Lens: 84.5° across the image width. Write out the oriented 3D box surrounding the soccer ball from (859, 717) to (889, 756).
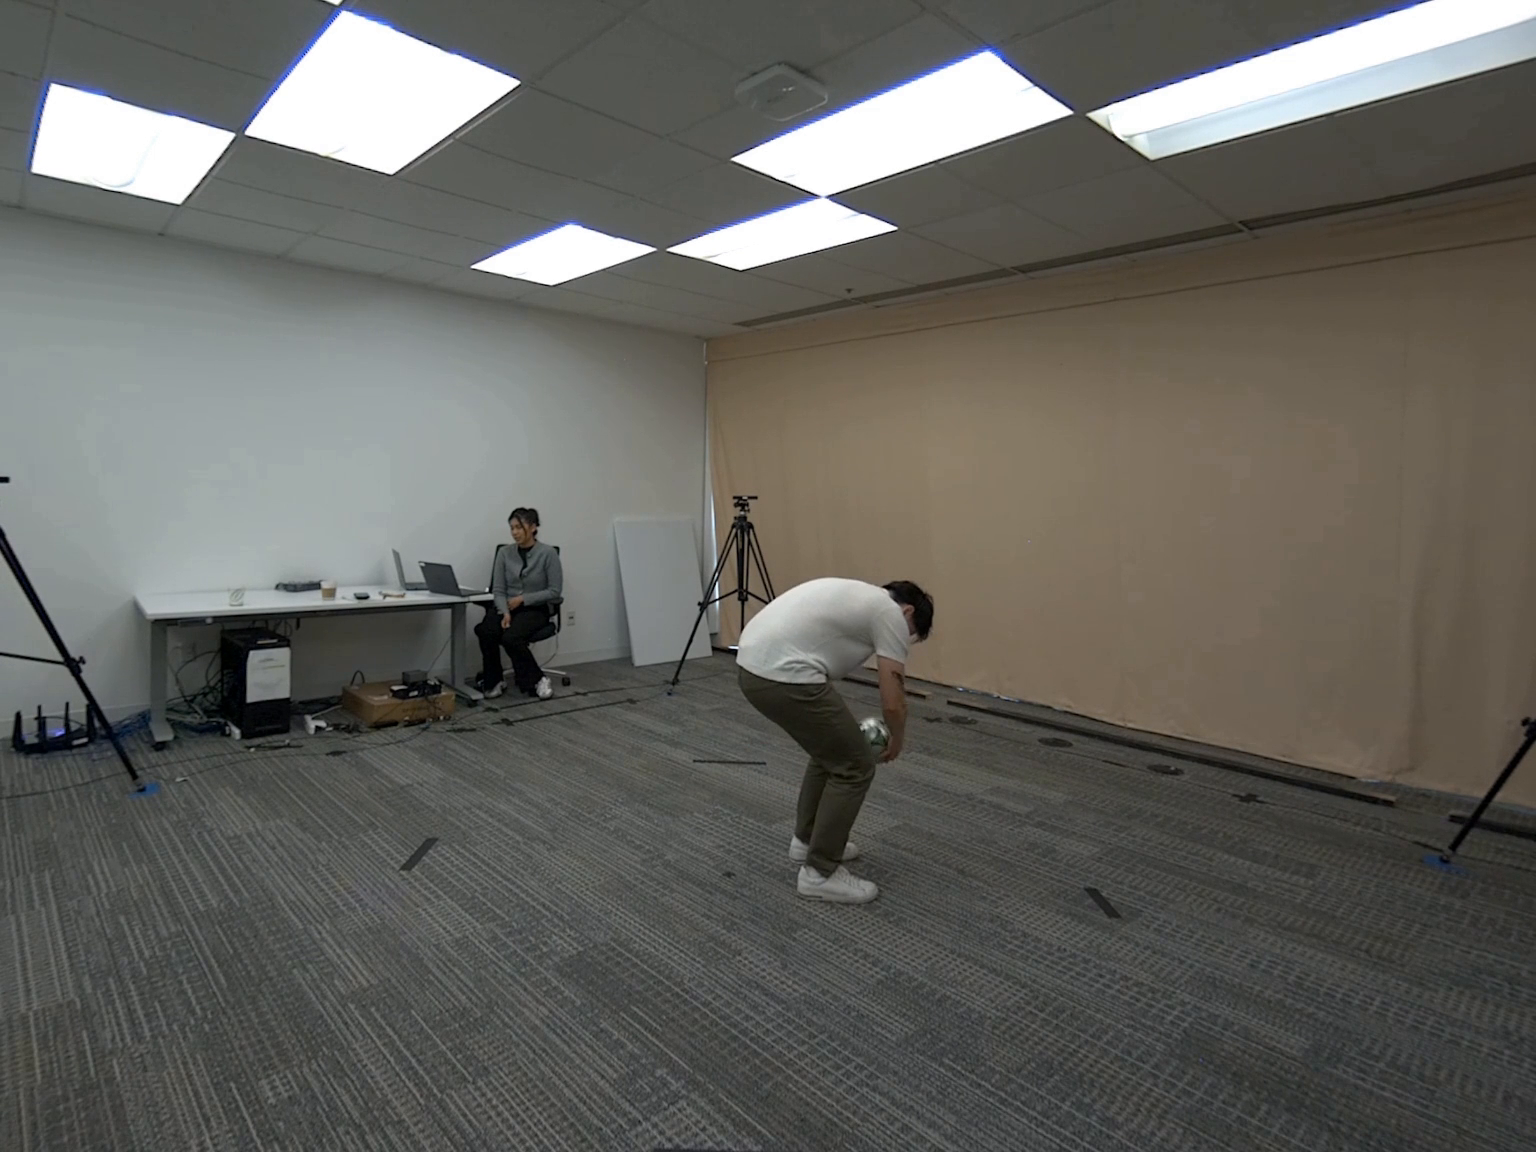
[{"bbox_3d":[0.411,0.657,3.337,0.187,0.187,0.188,1,4,-1],"label":"soccer ball"}]
